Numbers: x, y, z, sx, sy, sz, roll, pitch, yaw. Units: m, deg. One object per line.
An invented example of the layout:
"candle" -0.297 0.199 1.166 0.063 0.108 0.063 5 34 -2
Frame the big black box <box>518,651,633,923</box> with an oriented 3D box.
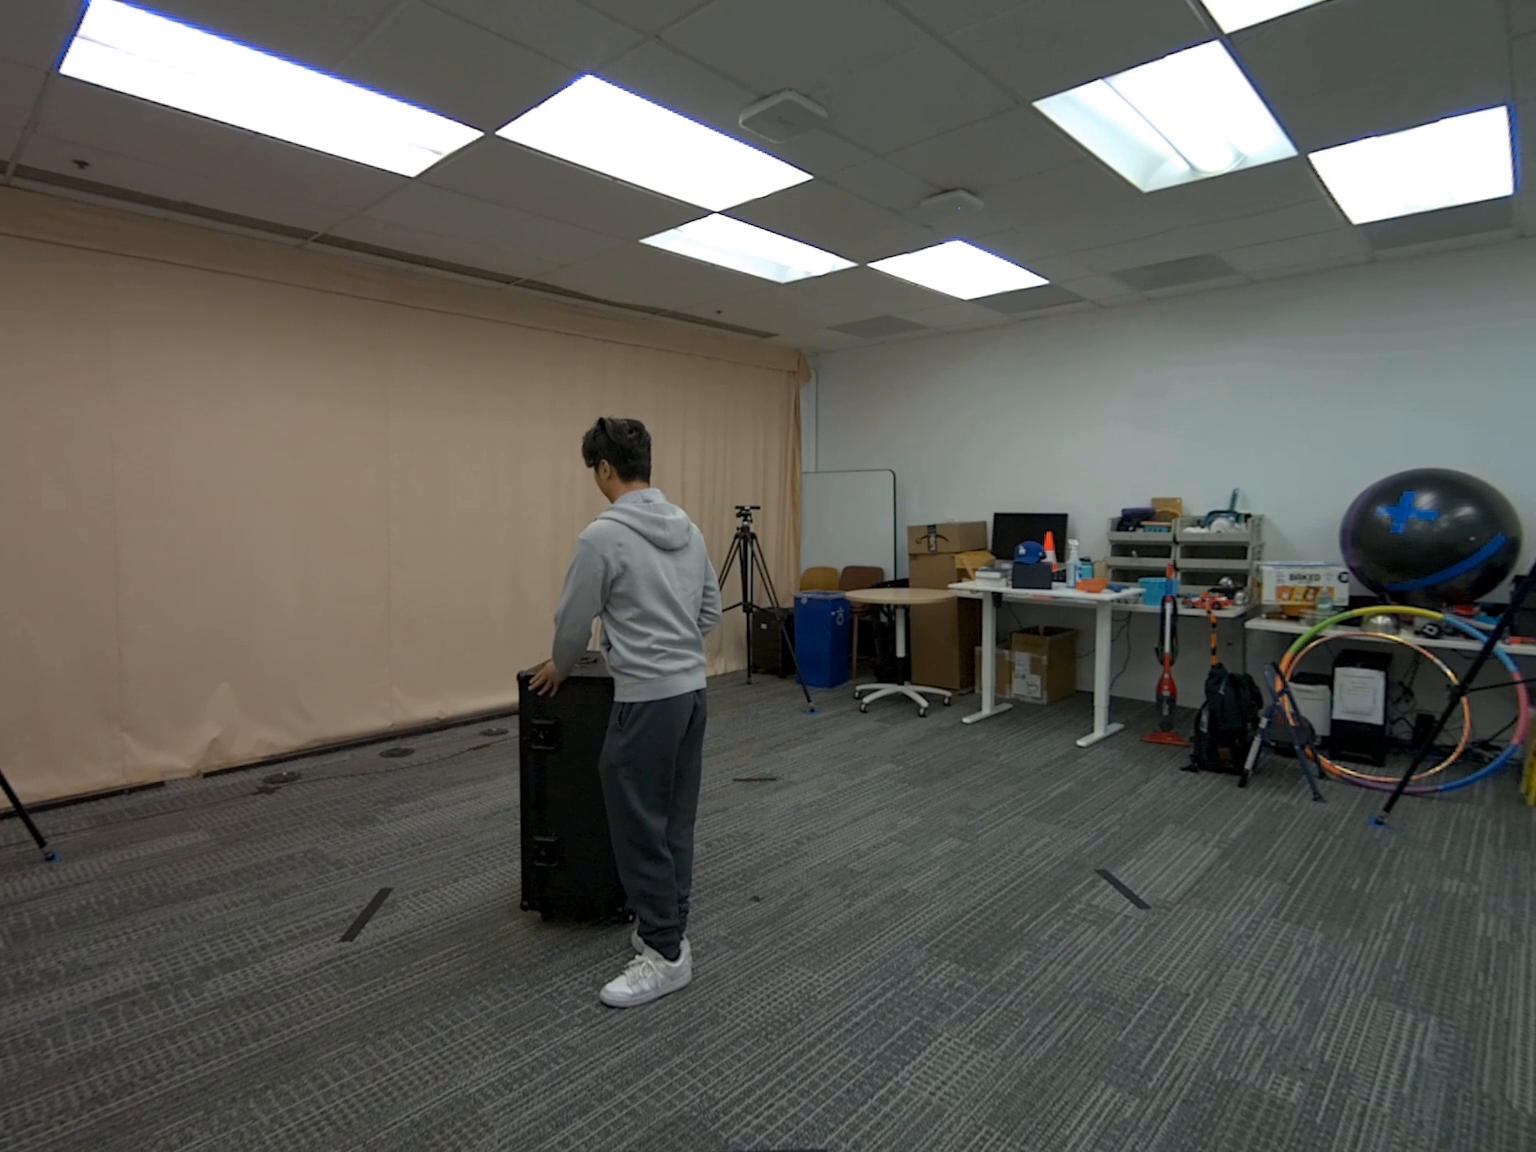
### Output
"big black box" -0.612 0.725 2.963 0.399 0.860 0.518 1 3 6
